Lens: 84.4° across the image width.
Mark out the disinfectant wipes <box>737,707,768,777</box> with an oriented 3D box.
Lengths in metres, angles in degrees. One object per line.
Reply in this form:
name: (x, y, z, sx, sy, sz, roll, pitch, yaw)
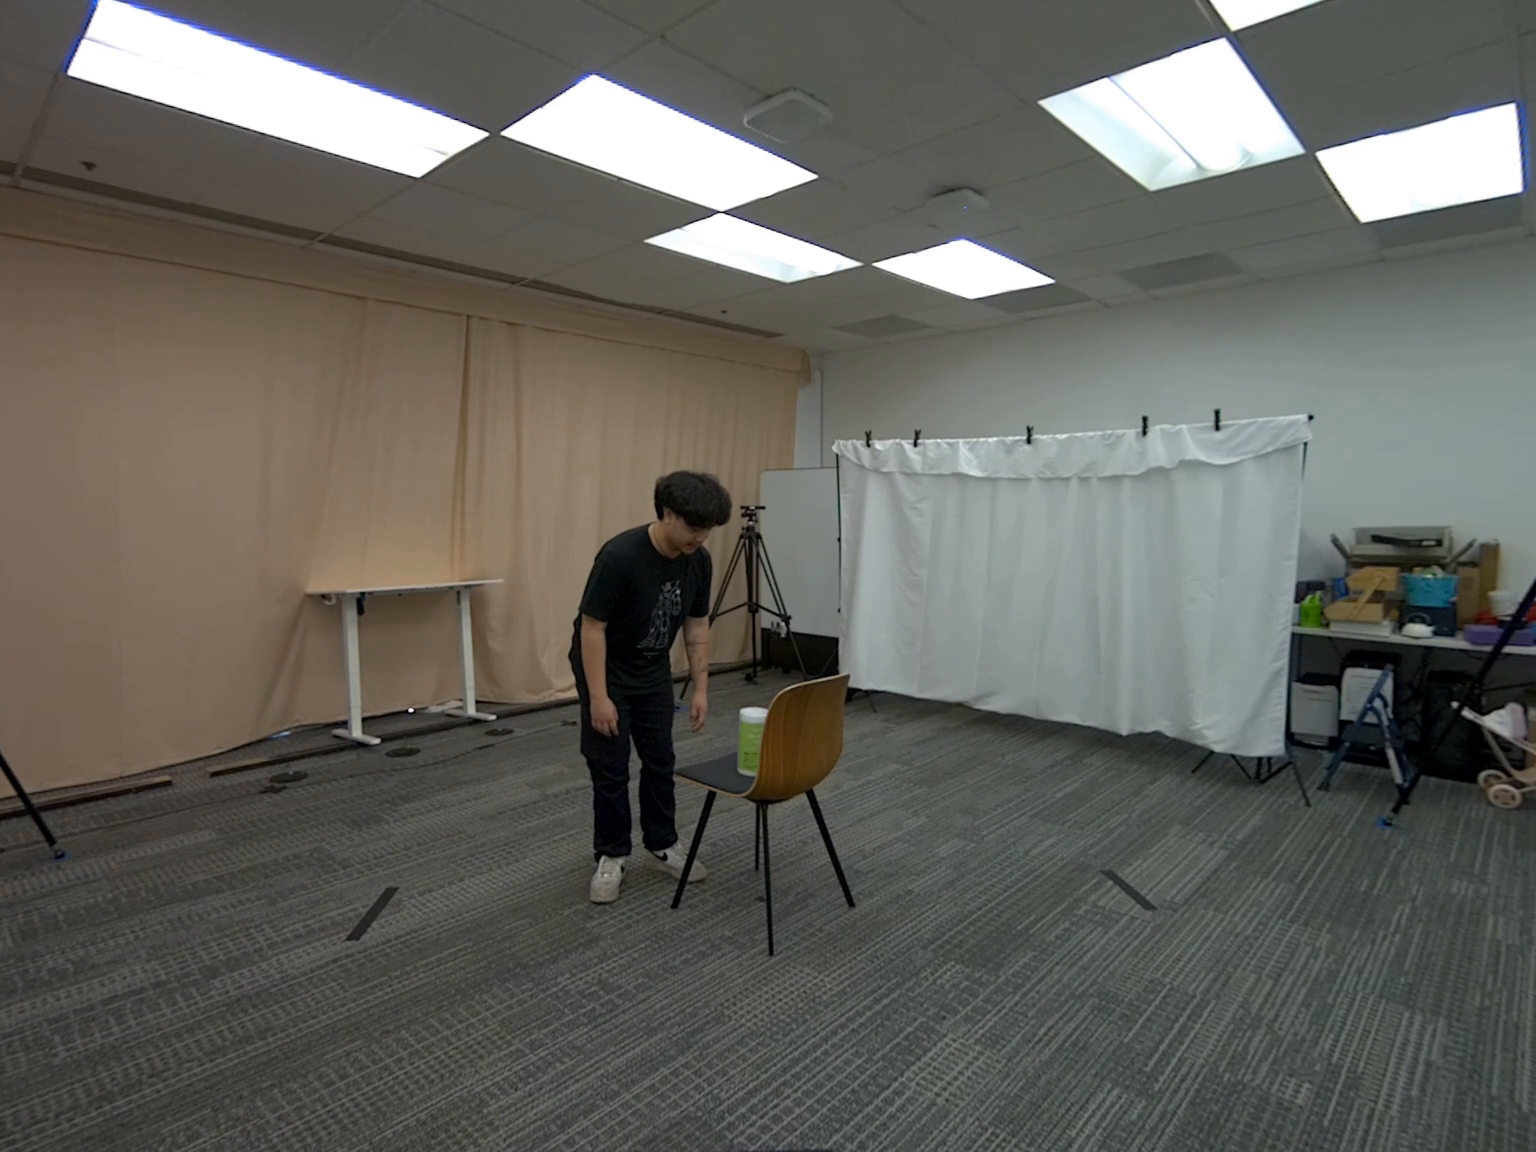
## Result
disinfectant wipes: (-0.044, 0.573, 2.896, 0.117, 0.217, 0.118, 2, 6, -2)
